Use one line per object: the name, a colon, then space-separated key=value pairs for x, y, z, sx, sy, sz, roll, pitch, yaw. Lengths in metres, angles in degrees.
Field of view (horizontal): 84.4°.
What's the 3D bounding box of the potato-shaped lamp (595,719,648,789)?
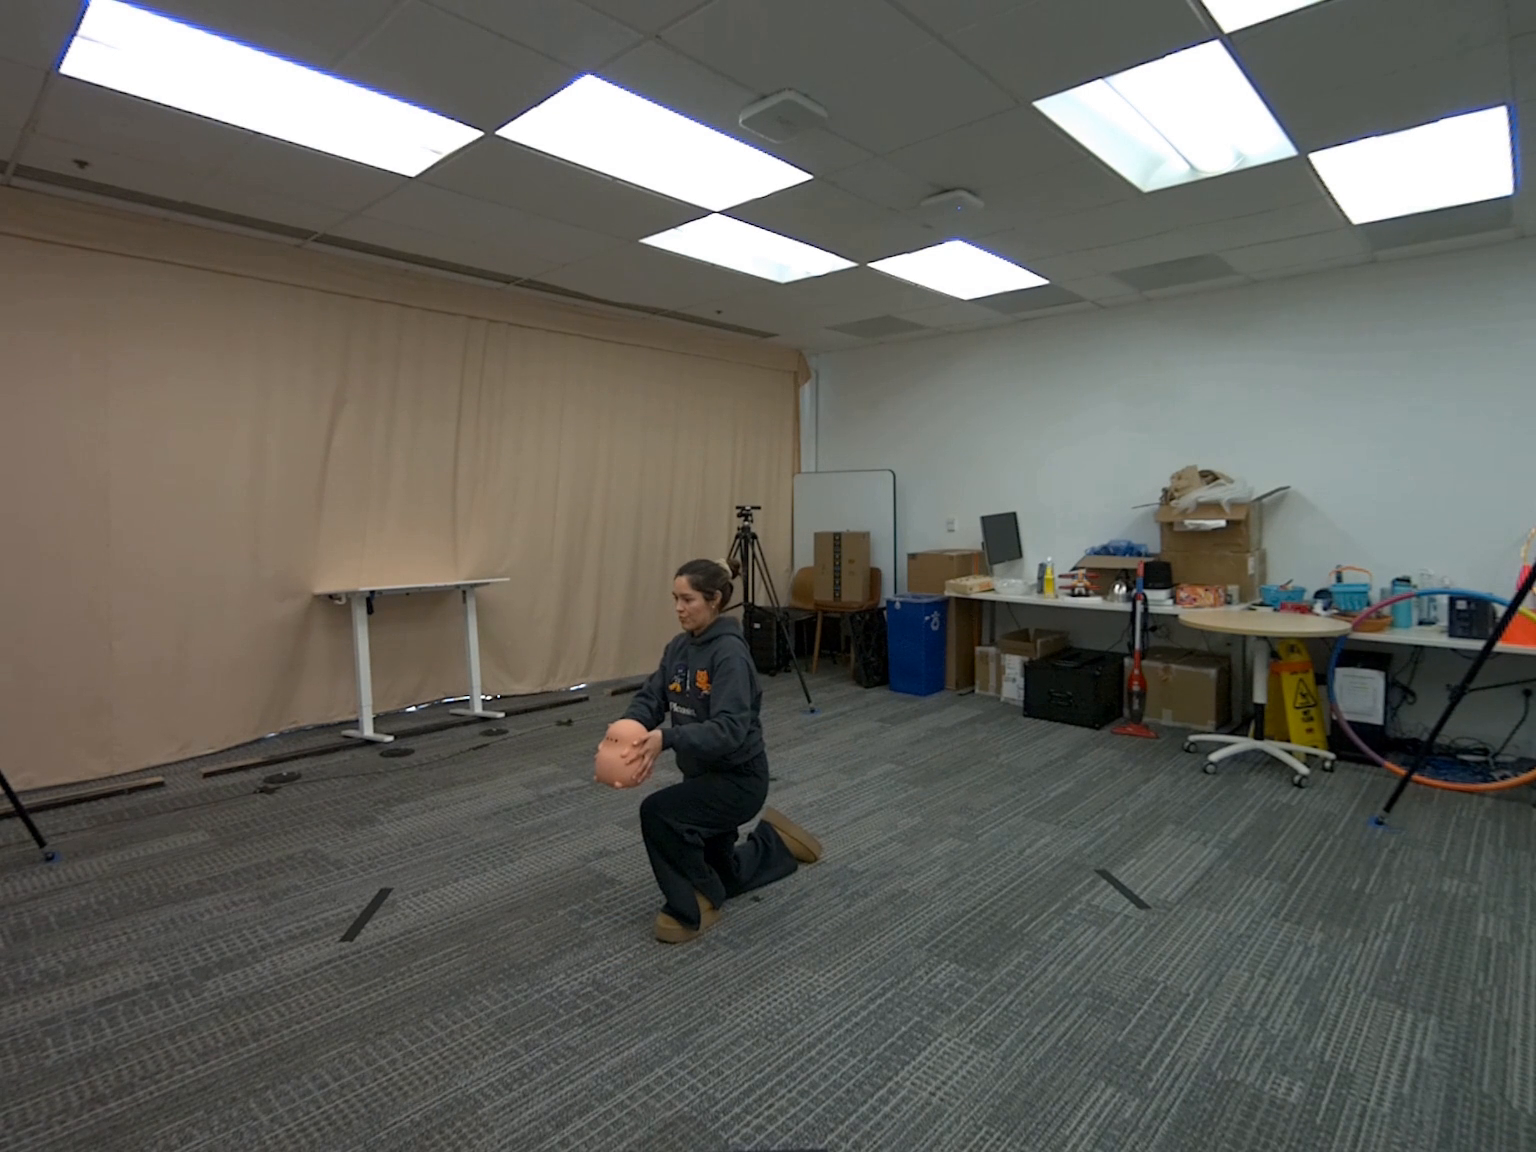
potato-shaped lamp: x=-0.429 y=0.546 z=2.602 sx=0.170 sy=0.198 sz=0.166 roll=1 pitch=-3 yaw=43
